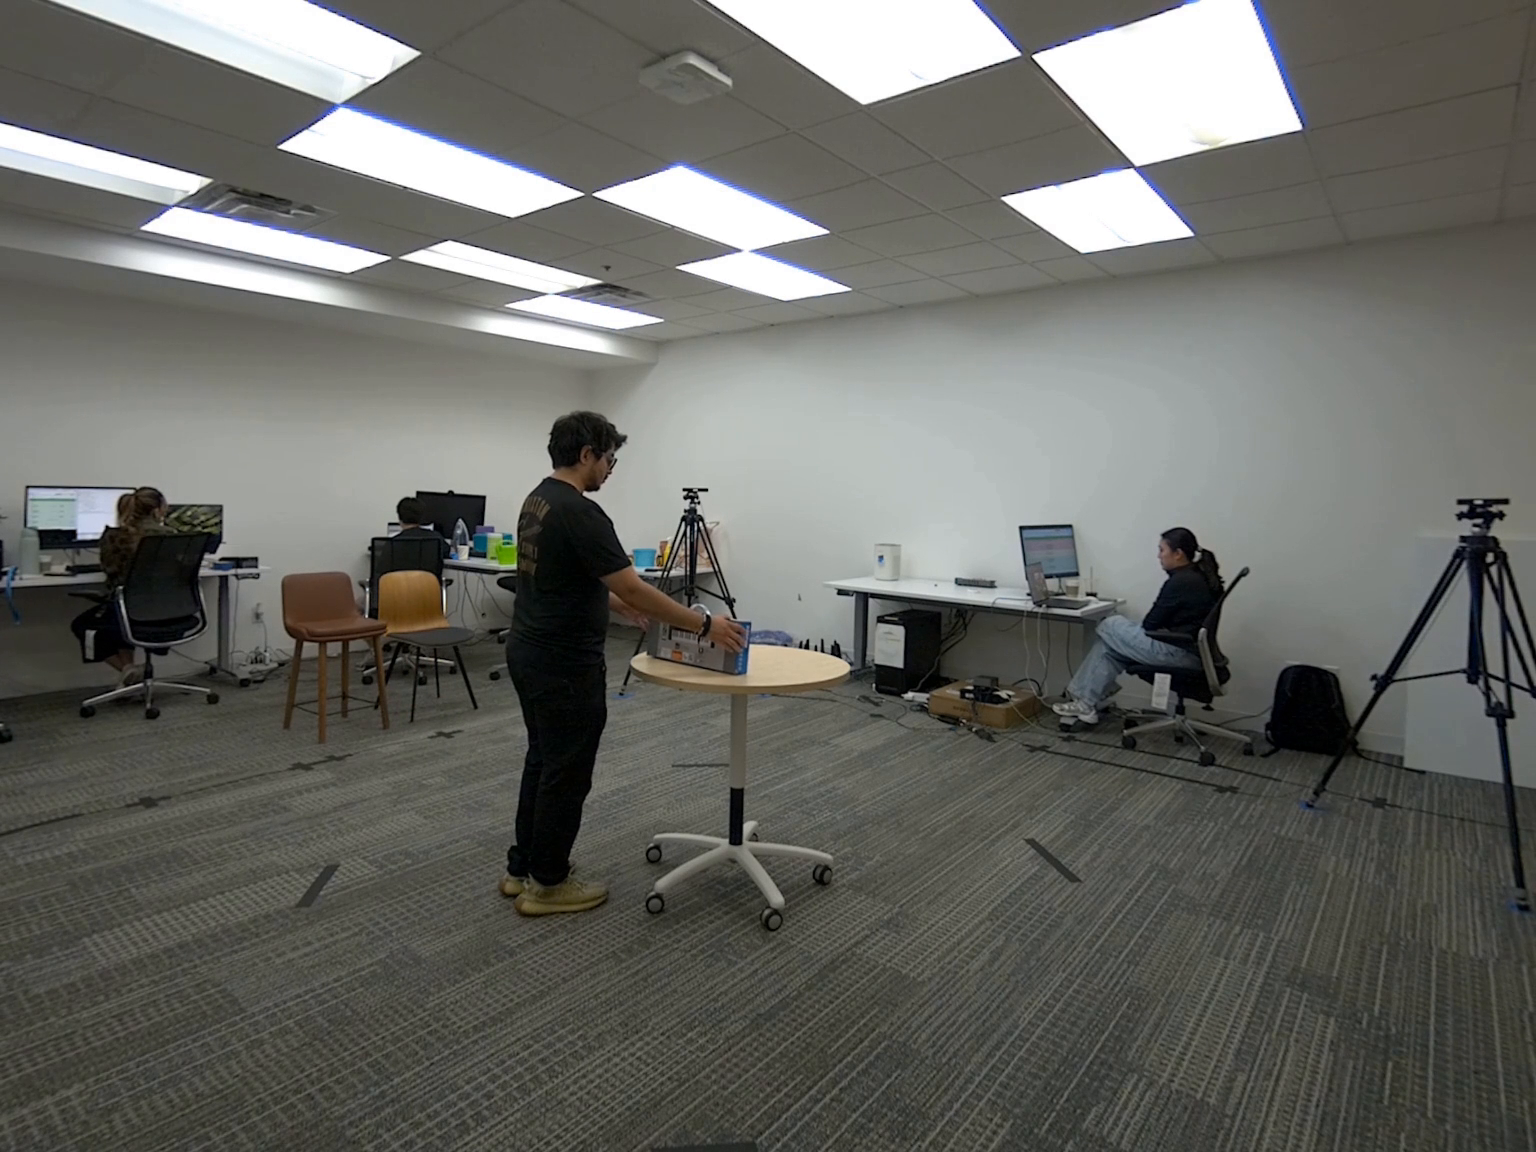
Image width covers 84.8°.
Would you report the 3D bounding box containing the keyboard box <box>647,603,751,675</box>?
[{"bbox_3d":[-0.253,0.220,2.915,0.452,0.176,0.057,5,-1,42],"label":"keyboard box"}]
